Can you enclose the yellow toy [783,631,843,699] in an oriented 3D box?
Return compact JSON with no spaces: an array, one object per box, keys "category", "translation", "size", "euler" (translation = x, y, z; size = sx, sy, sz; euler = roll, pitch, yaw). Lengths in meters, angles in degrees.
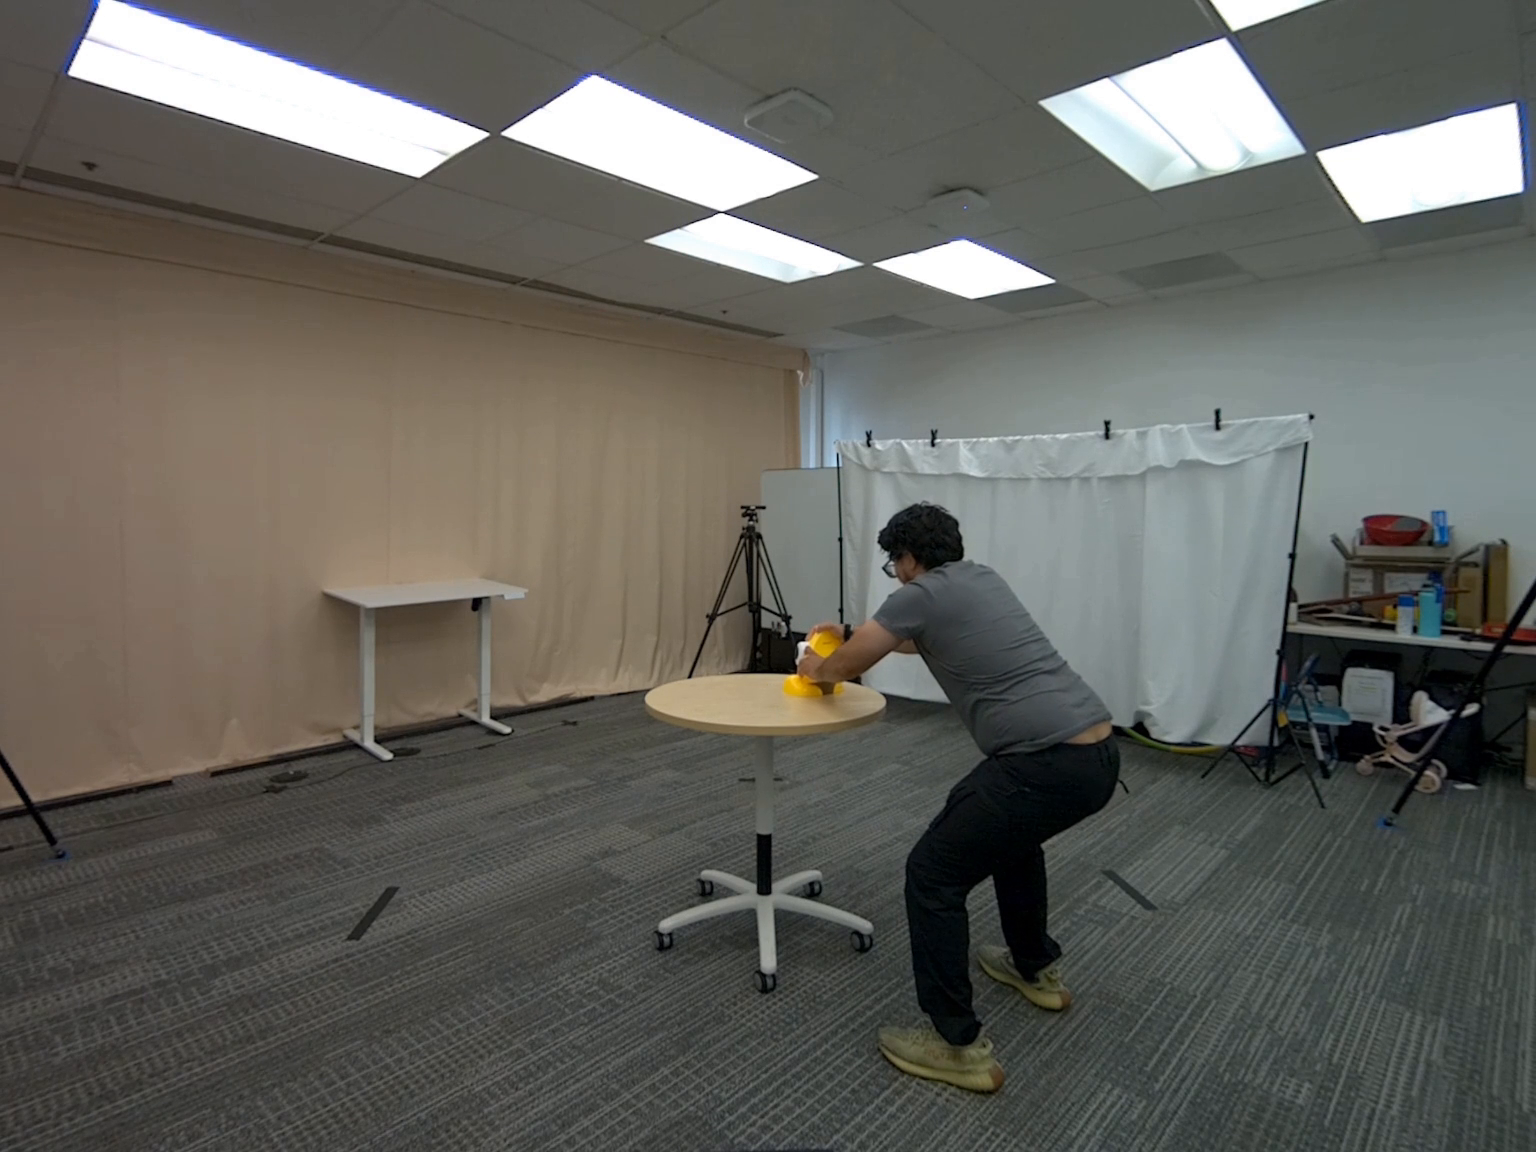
[{"category":"yellow toy","translation":[0.158,0.270,2.782],"size":[0.199,0.230,0.199],"euler":[0,3,-33]}]
